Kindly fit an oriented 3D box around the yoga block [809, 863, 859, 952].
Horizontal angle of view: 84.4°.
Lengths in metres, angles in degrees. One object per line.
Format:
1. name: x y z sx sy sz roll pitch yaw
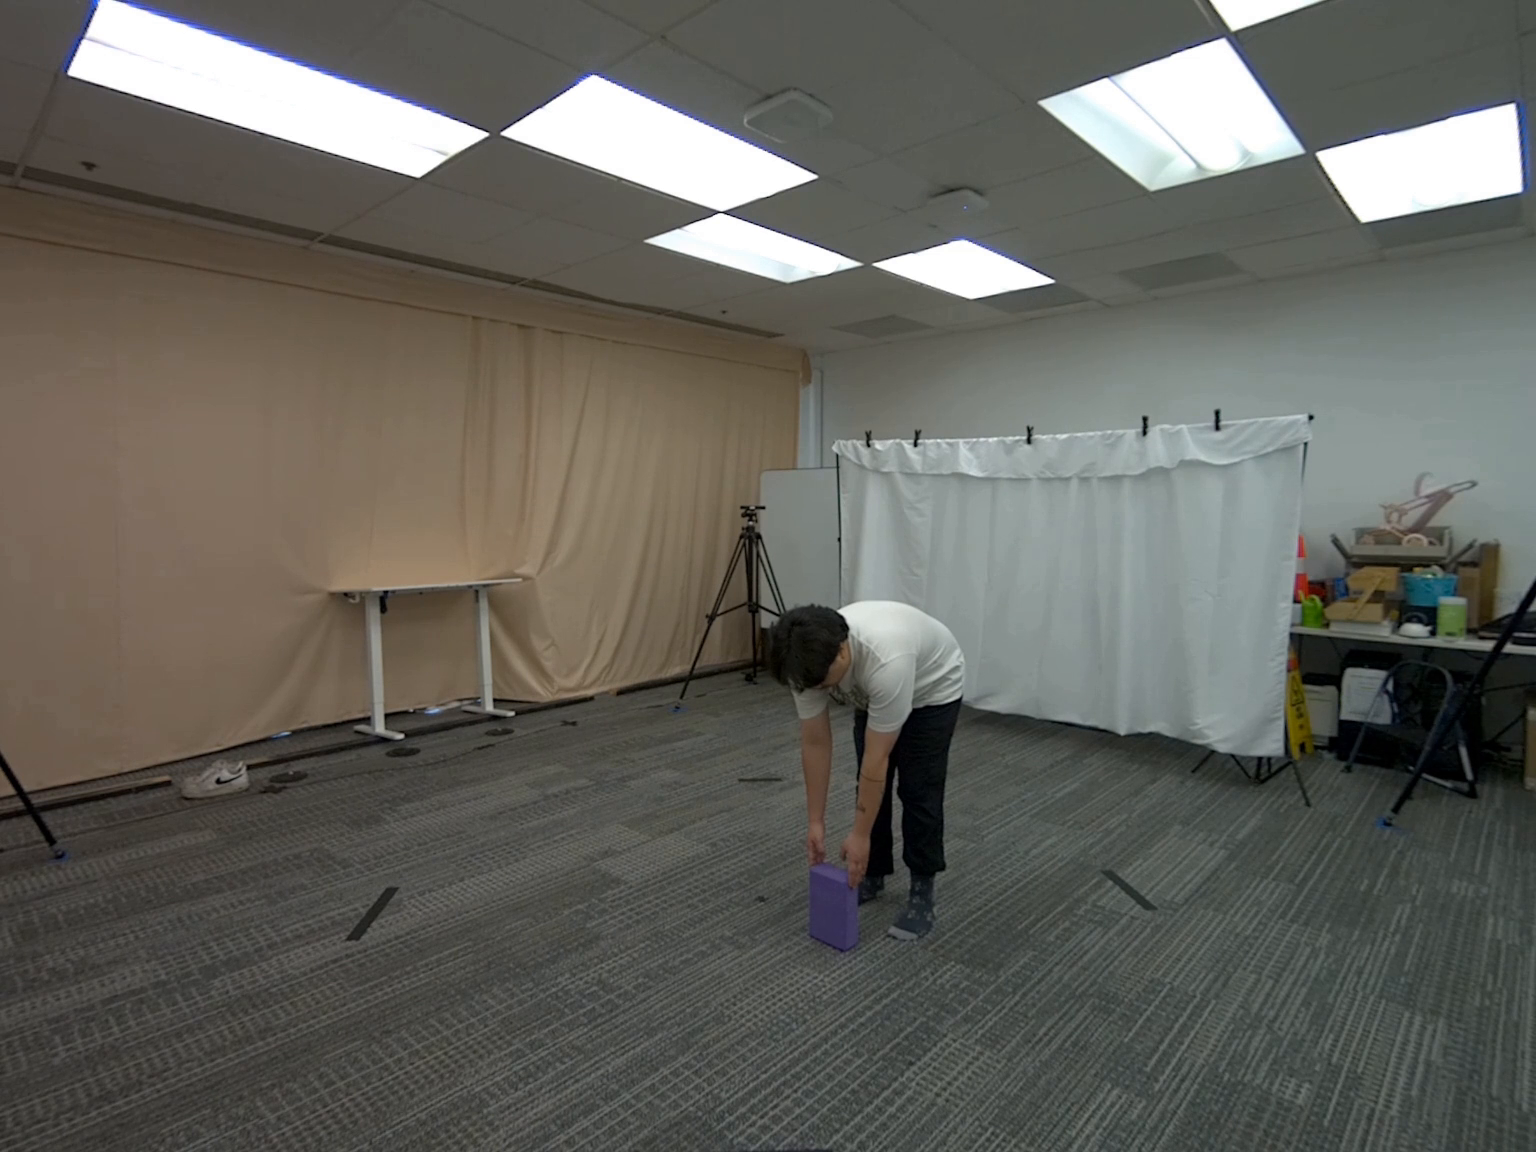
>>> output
1. yoga block: 0.217 1.058 2.686 0.154 0.229 0.074 5 4 42
